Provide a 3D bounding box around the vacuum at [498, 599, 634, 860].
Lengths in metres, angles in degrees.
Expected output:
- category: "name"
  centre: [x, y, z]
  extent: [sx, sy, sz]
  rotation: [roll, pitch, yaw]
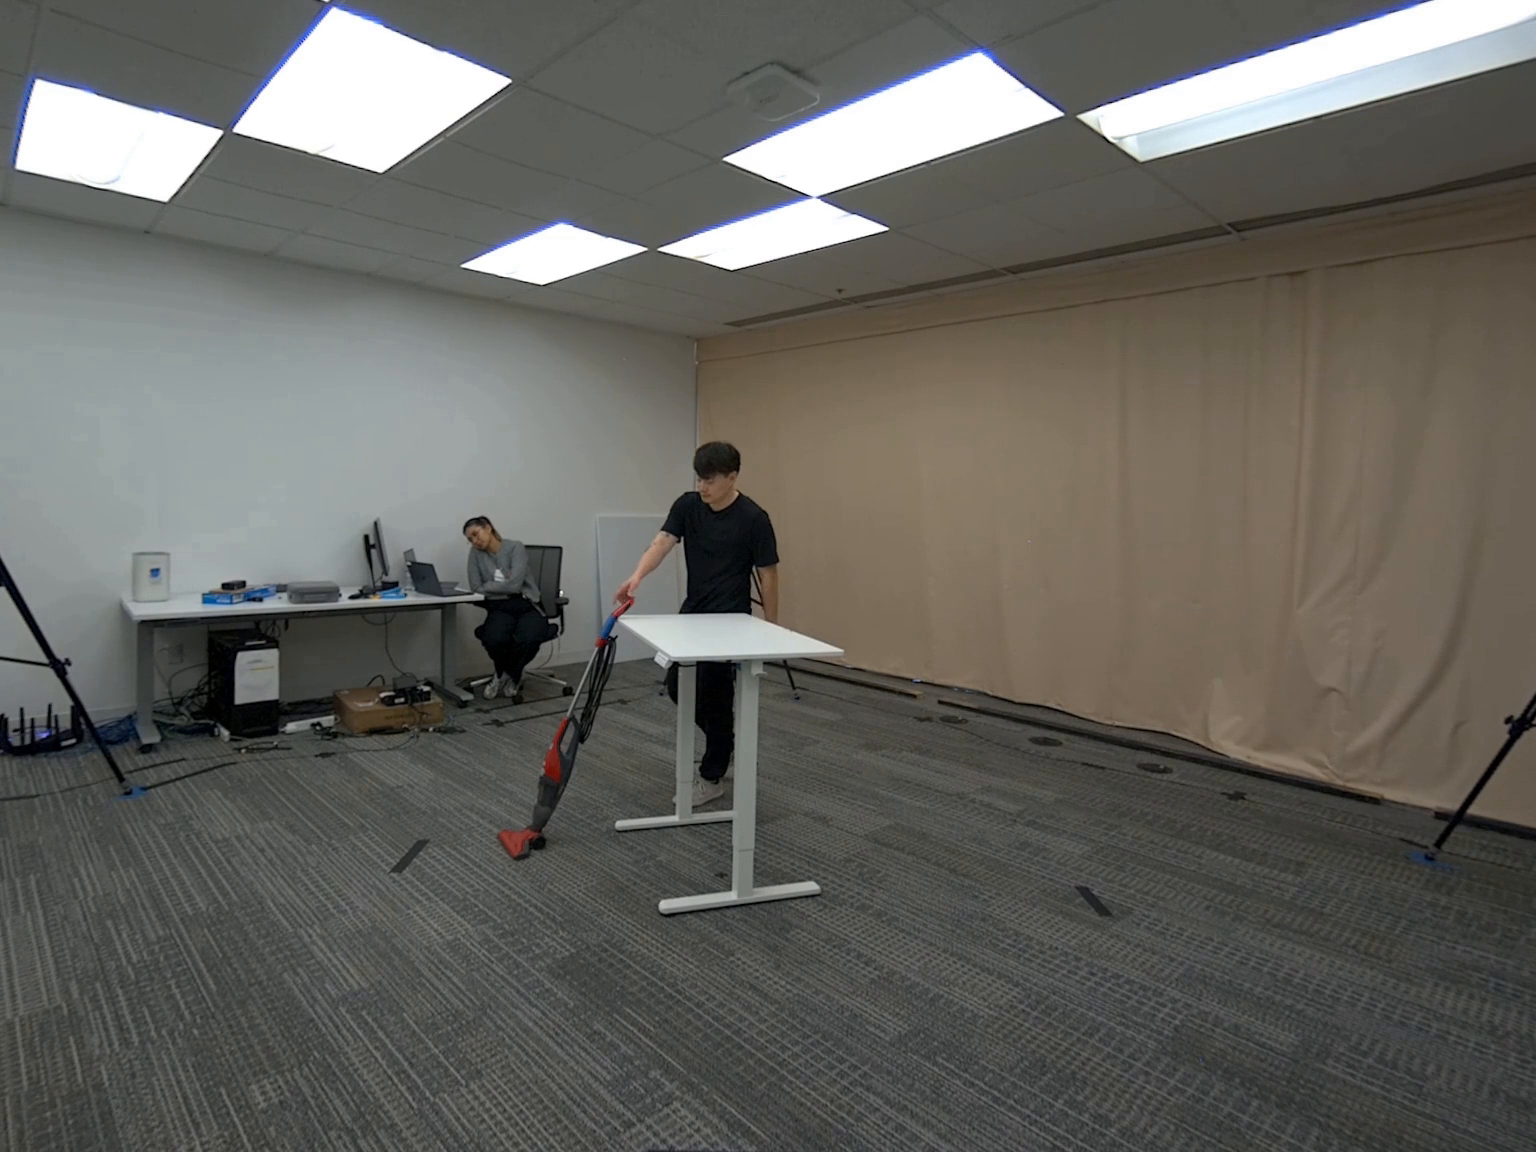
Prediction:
- category: "vacuum"
  centre: [-0.783, 0.582, 3.409]
  extent: [0.140, 1.054, 0.259]
  rotation: [28, -13, -37]
